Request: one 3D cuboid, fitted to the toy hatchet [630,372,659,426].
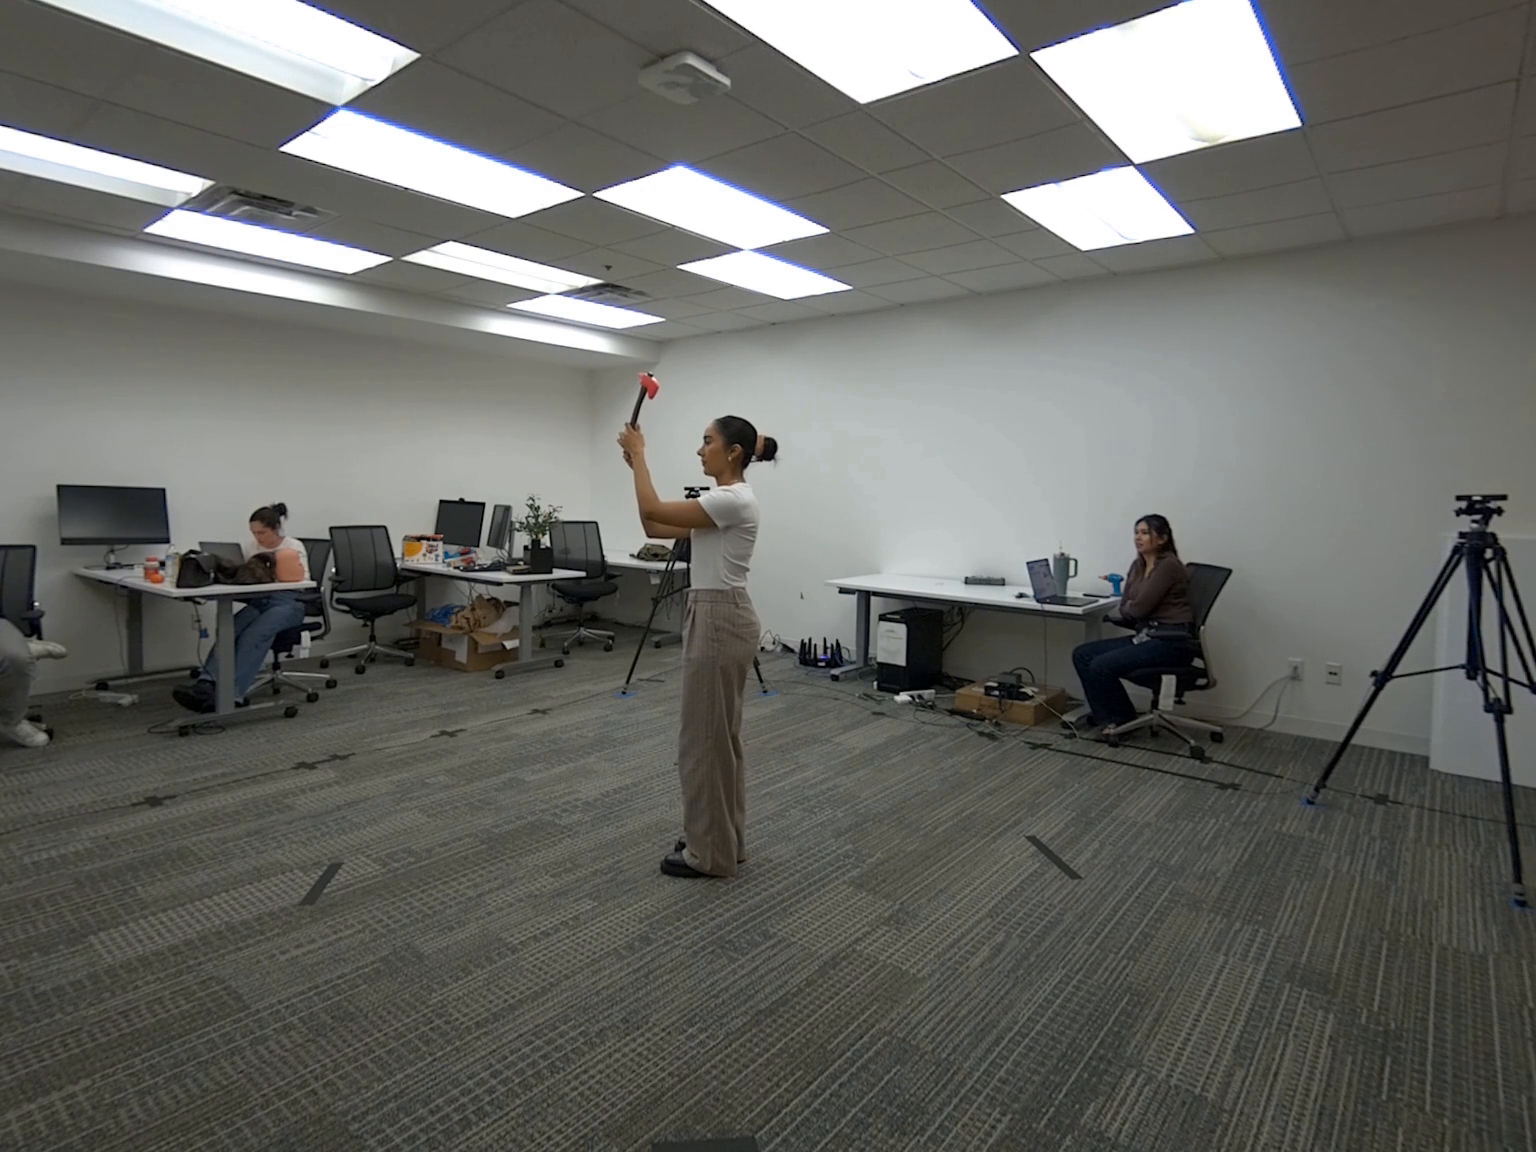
[{"bbox_3d":[-0.459,-0.607,3.077,0.136,0.268,0.028,17,10,42],"label":"toy hatchet"}]
